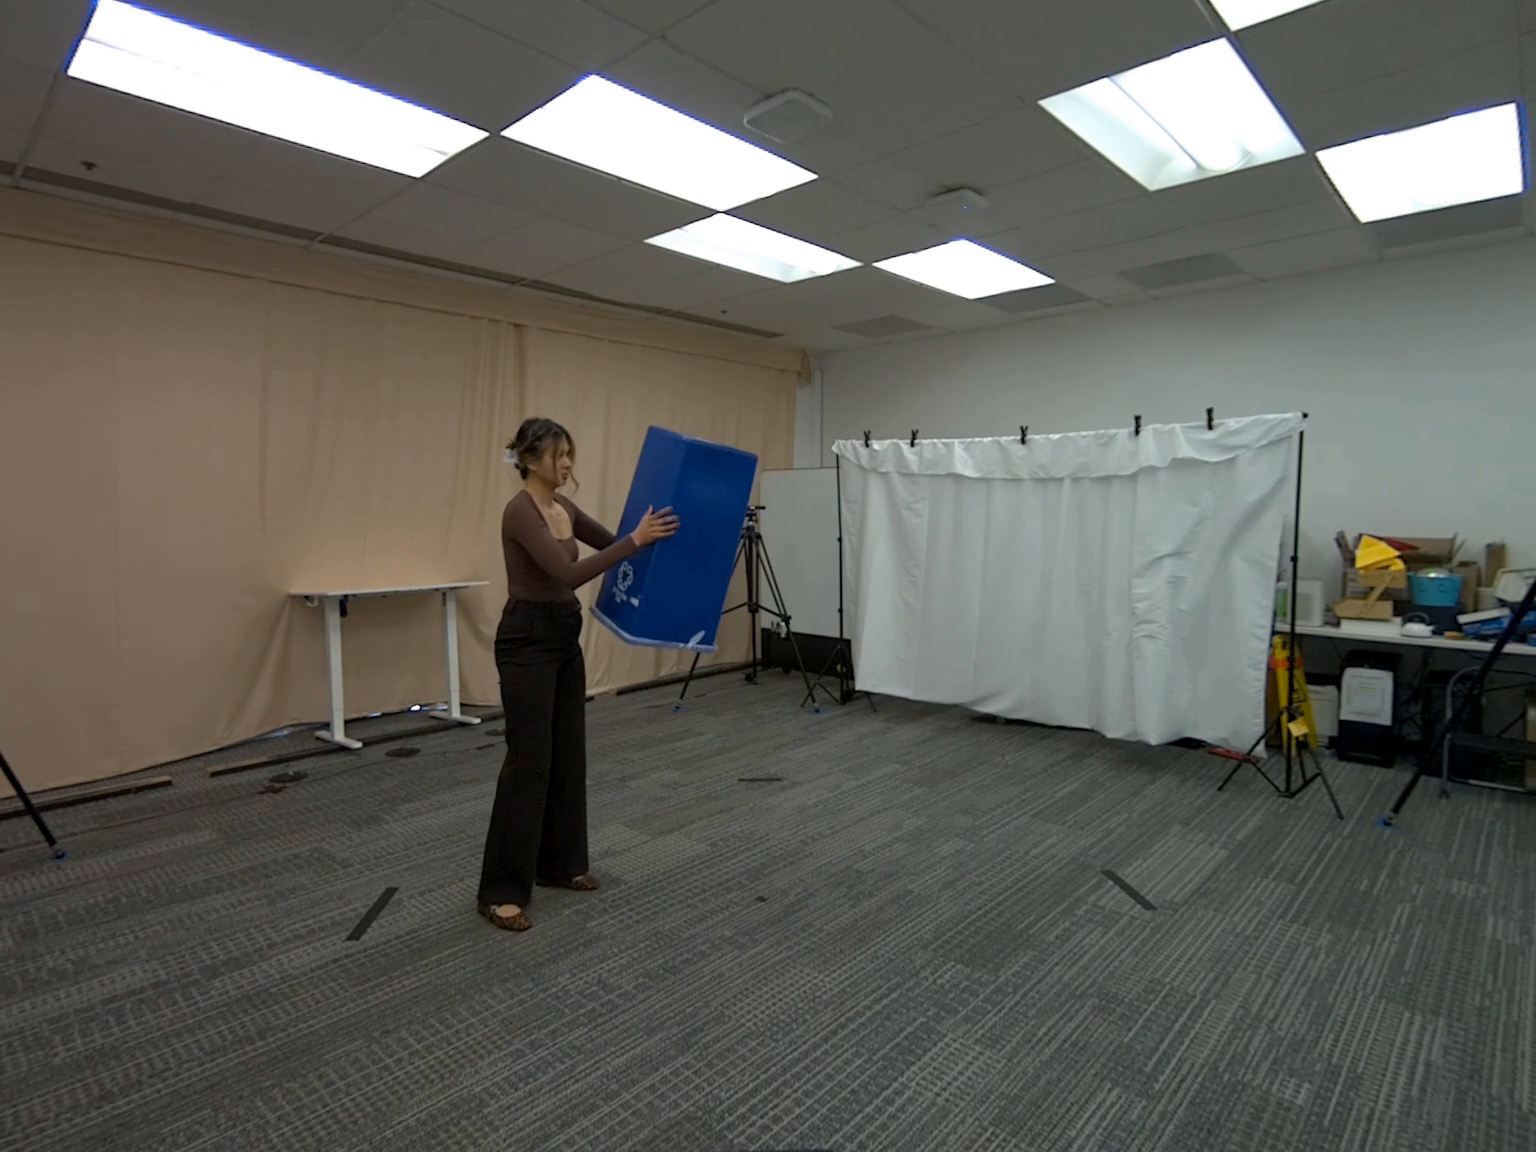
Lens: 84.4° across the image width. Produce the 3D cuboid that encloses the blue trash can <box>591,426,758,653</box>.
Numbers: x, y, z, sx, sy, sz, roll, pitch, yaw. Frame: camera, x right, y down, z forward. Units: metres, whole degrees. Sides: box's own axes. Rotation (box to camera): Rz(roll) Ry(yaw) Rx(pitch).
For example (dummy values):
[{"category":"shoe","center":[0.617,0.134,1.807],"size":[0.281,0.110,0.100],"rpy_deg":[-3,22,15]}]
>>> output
[{"category":"blue trash can","center":[-0.319,-0.130,2.989],"size":[0.366,0.712,0.387],"rpy_deg":[11,10,-33]}]
